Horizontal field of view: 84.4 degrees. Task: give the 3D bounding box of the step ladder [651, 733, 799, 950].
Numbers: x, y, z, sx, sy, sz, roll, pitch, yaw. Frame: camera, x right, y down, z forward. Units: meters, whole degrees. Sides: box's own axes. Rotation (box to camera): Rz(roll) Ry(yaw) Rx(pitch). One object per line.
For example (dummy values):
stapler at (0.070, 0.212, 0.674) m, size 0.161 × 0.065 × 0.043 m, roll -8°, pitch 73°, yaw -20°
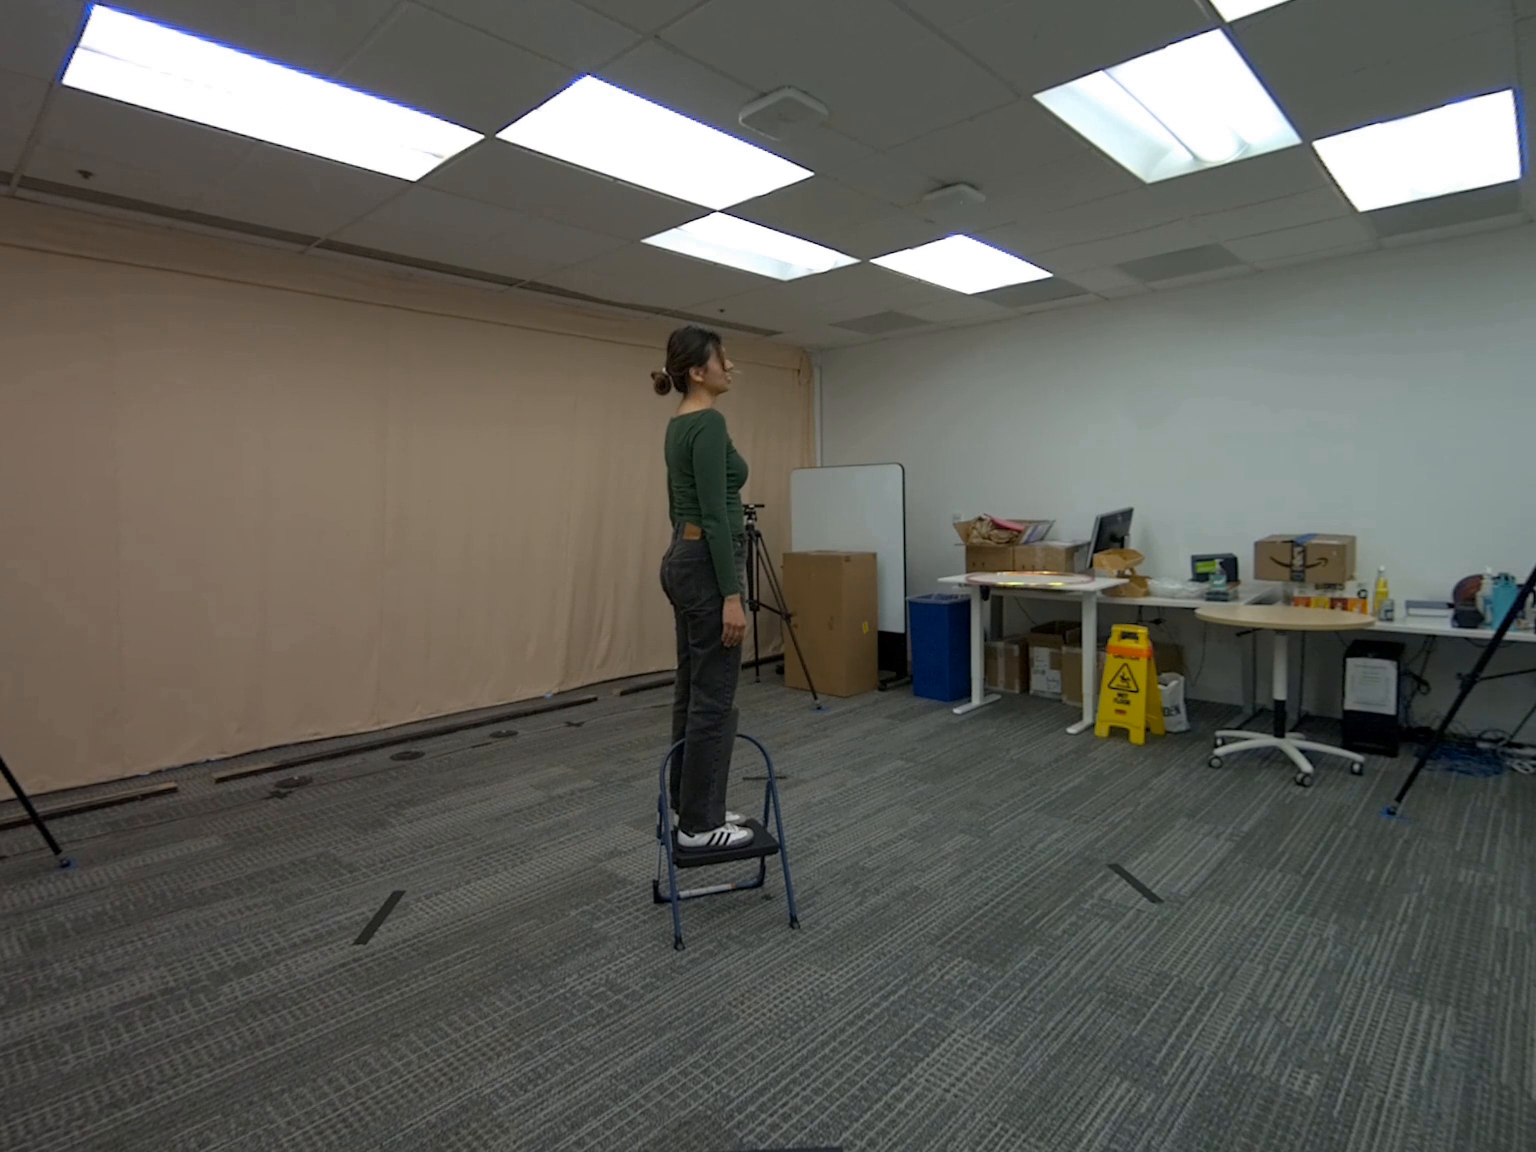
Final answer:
step ladder at (-0.151, 0.851, 2.856) m, size 0.422 × 0.605 × 0.356 m, roll -2°, pitch 3°, yaw -19°
